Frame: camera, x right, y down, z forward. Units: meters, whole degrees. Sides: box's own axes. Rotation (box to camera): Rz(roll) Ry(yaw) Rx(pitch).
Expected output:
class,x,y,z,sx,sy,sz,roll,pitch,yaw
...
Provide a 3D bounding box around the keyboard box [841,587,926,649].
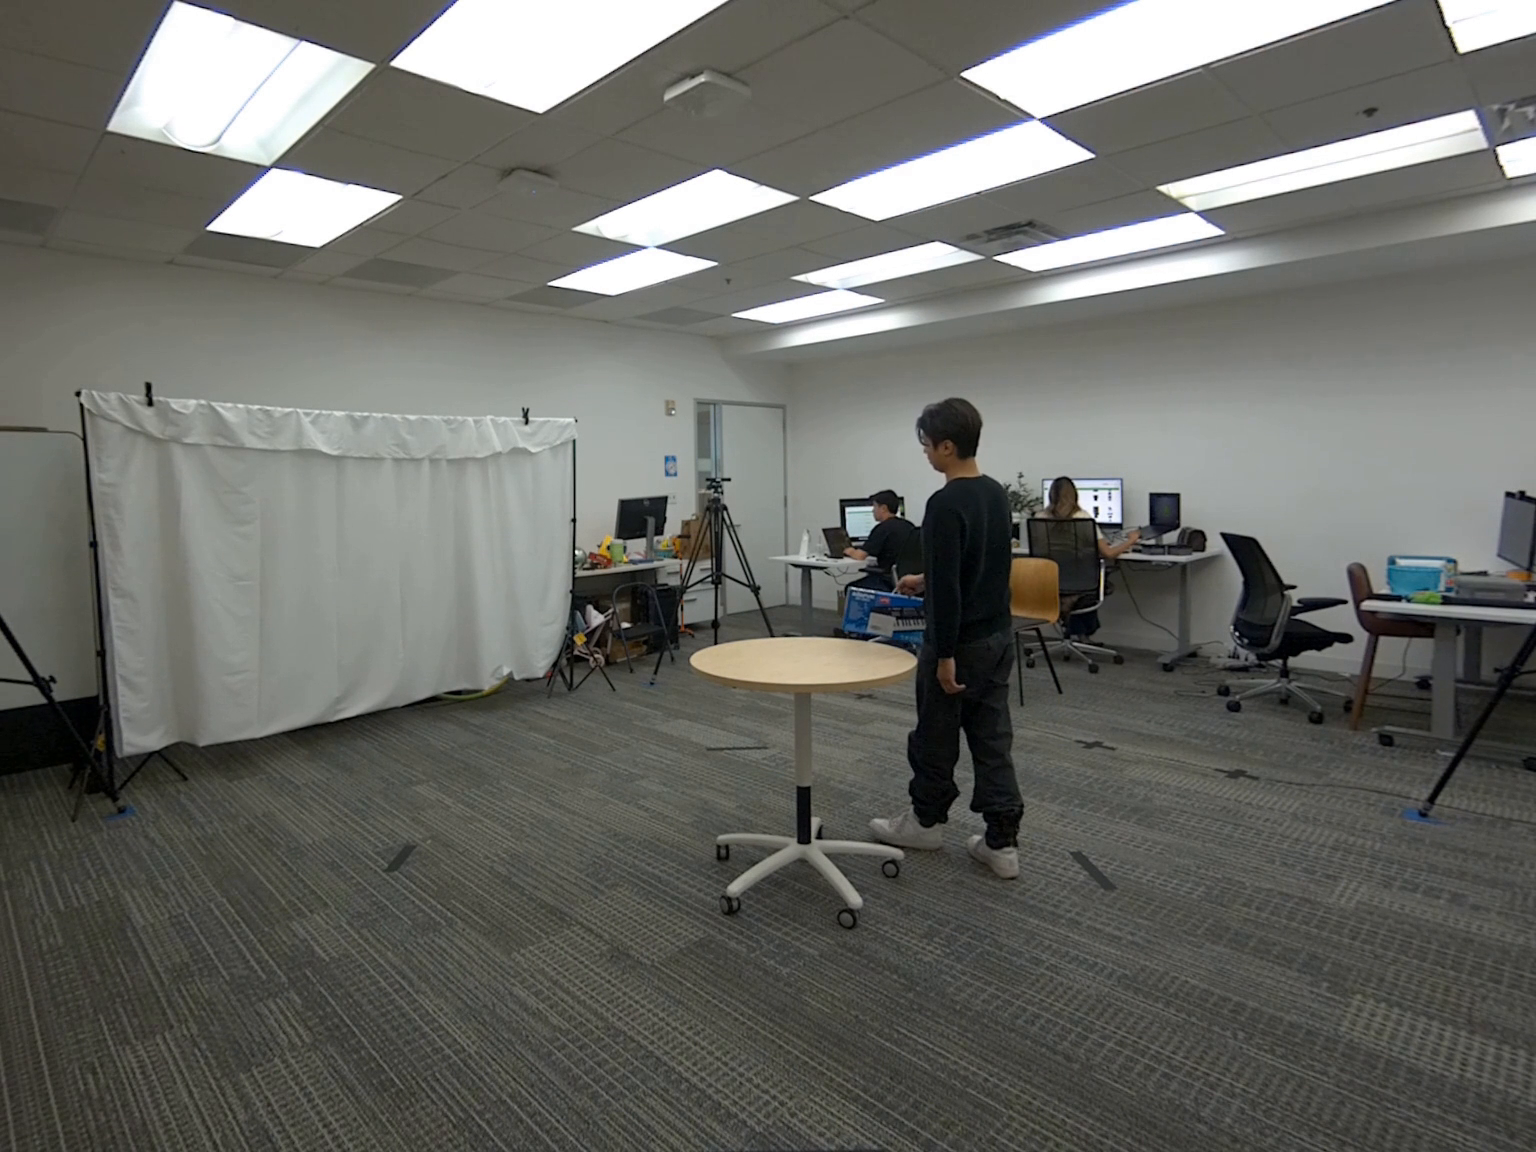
class,x,y,z,sx,sy,sz,roll,pitch,yaw
keyboard box,0.530,0.164,3.405,0.439,0.175,0.059,8,6,6
